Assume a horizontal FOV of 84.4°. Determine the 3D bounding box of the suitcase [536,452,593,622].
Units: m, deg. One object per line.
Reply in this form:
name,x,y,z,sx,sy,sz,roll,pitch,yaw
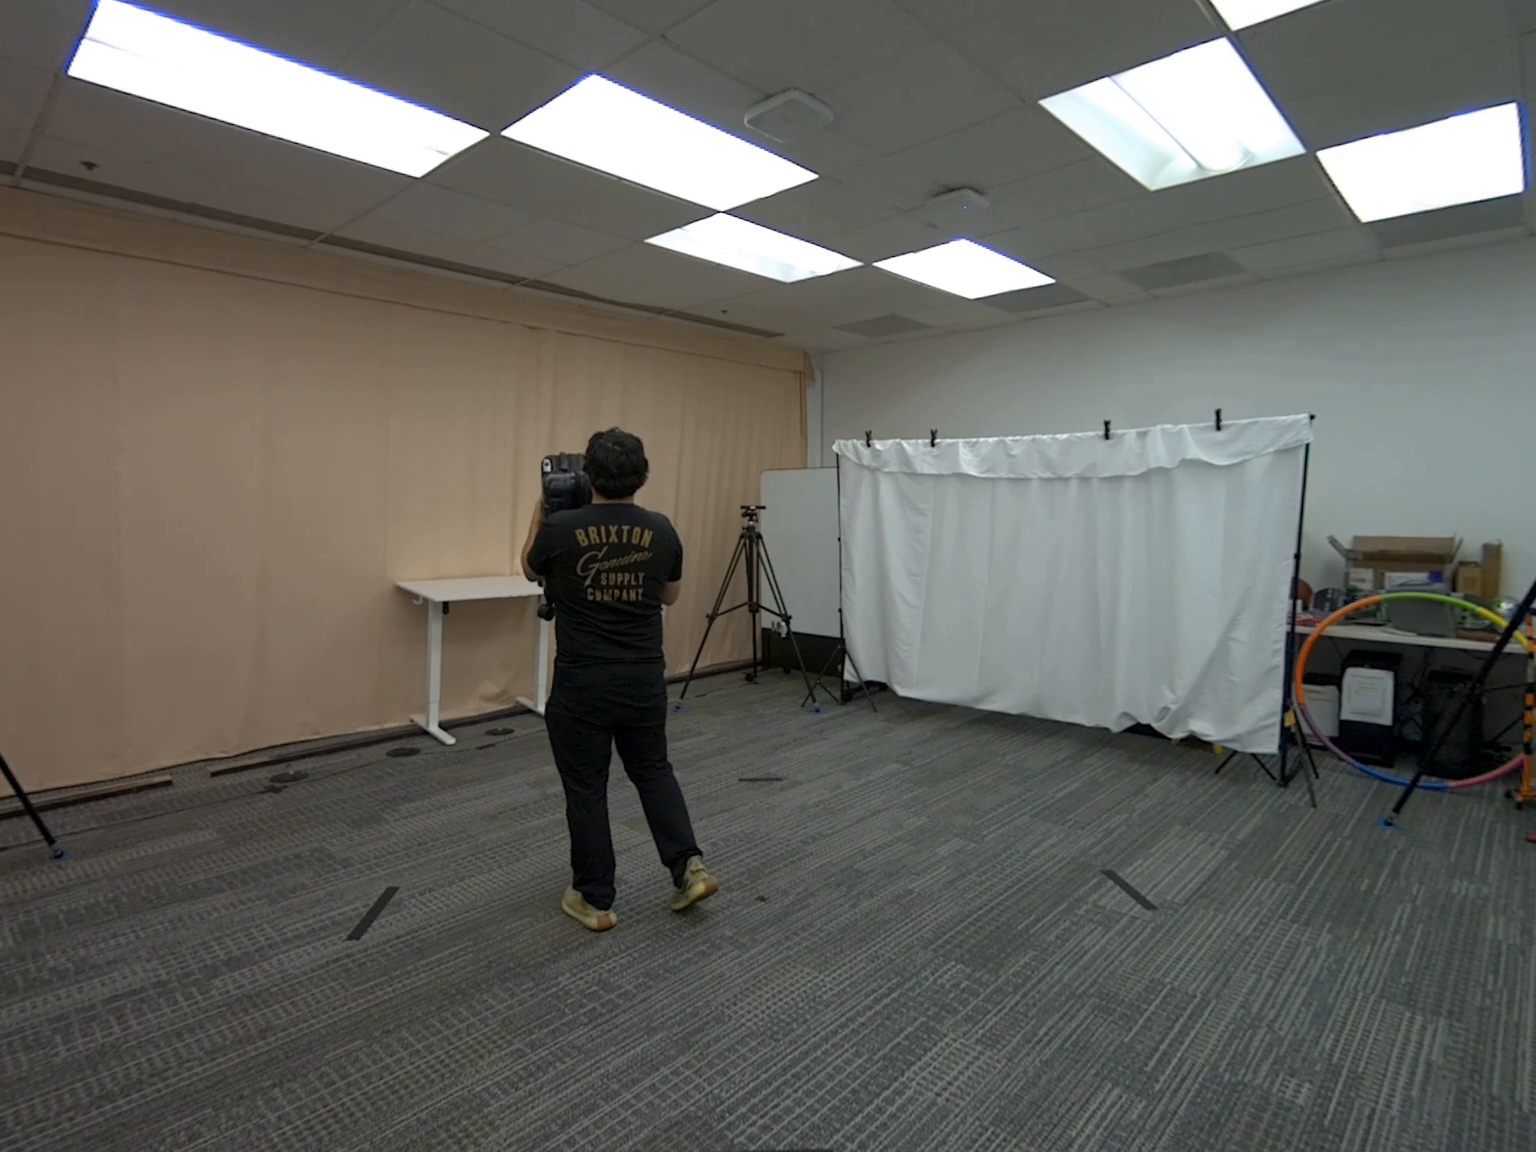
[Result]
suitcase,-0.709,-0.171,3.104,0.245,0.543,0.385,-3,21,-15
